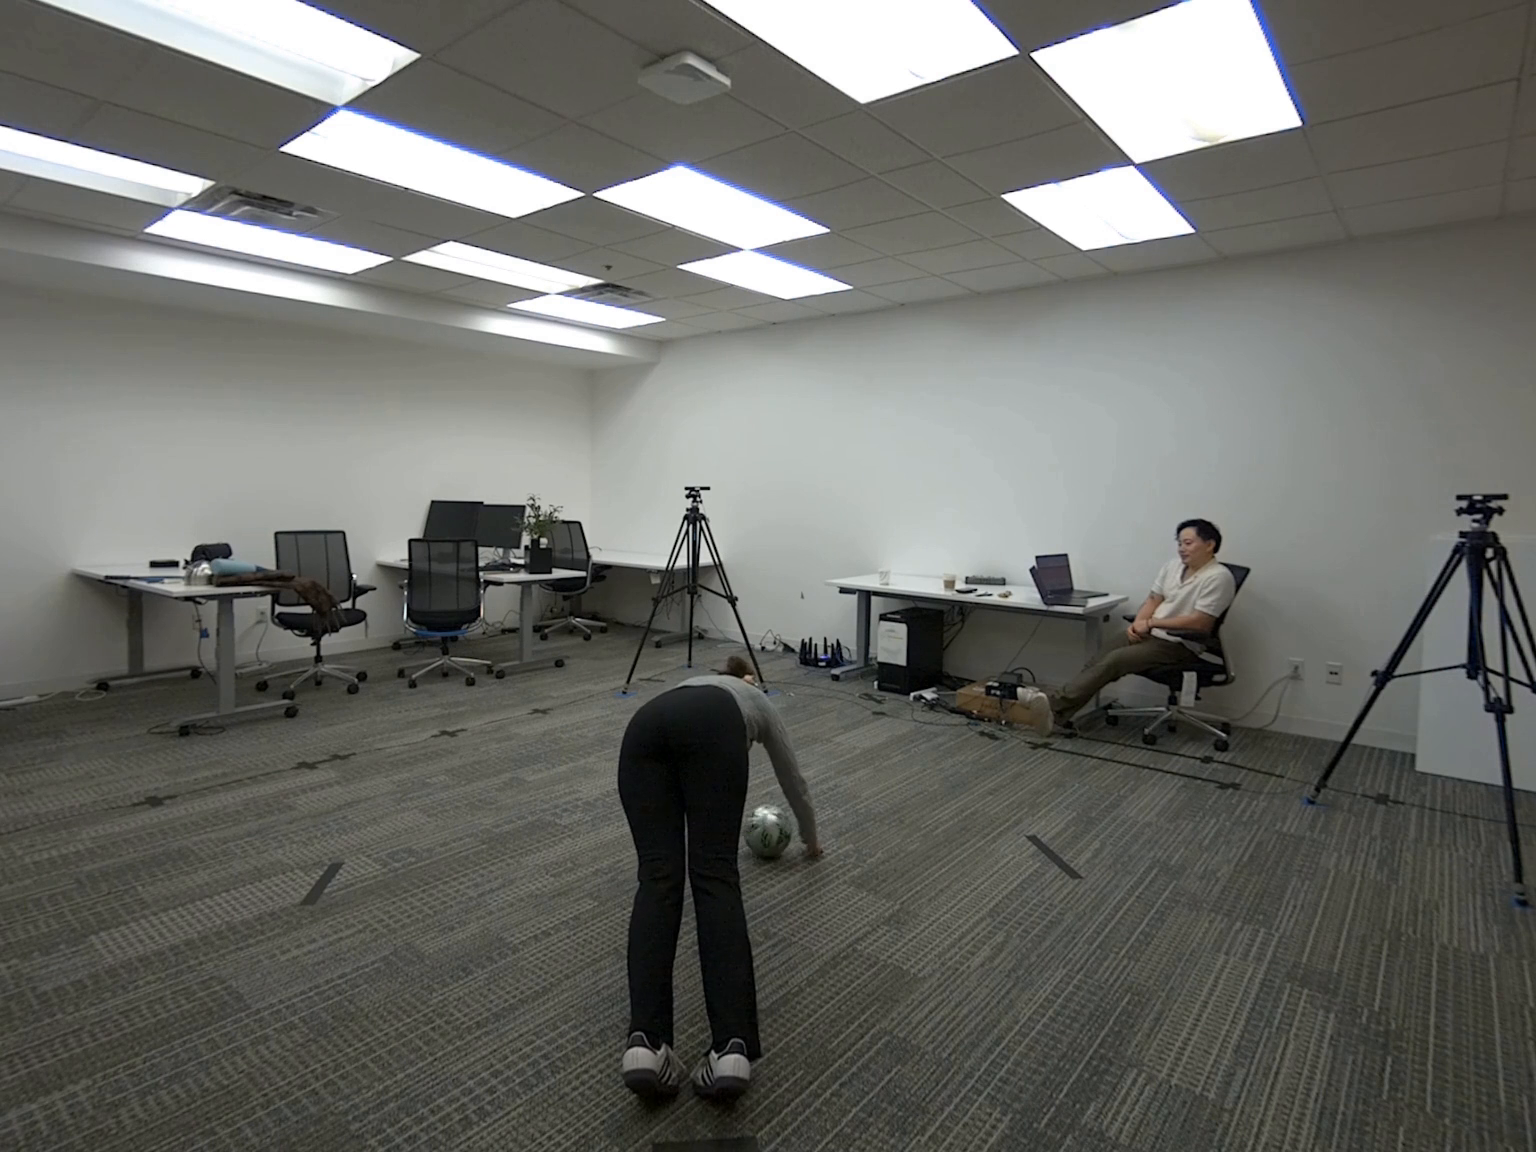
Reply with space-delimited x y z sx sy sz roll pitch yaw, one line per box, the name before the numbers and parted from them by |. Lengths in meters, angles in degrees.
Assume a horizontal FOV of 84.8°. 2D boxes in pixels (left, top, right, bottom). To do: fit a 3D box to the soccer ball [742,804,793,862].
soccer ball | -0.009 0.960 3.224 0.187 0.187 0.188 1 4 -2
